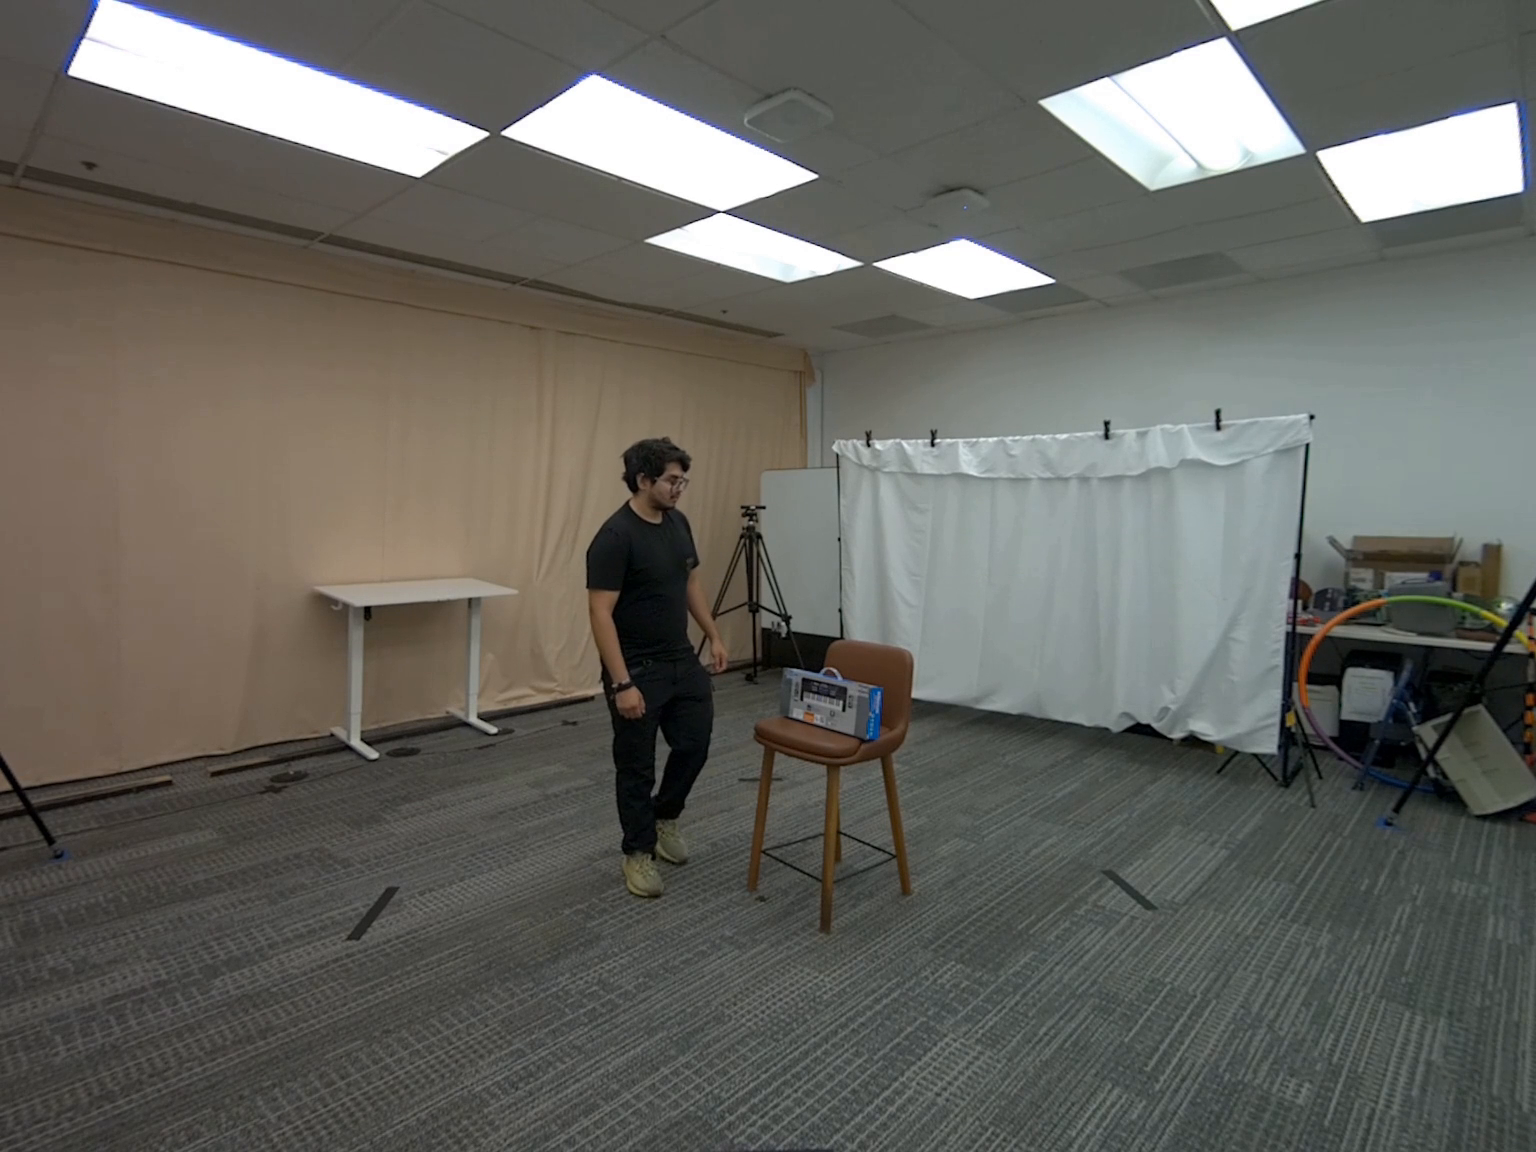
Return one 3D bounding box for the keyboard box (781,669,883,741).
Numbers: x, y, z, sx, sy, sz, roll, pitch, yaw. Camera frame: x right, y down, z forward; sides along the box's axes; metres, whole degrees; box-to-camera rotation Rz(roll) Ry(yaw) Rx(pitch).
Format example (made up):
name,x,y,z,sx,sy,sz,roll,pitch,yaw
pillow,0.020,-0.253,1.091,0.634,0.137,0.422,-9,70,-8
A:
name,x,y,z,sx,sy,sz,roll,pitch,yaw
keyboard box,0.213,0.443,2.964,0.057,0.176,0.451,7,-2,-40
